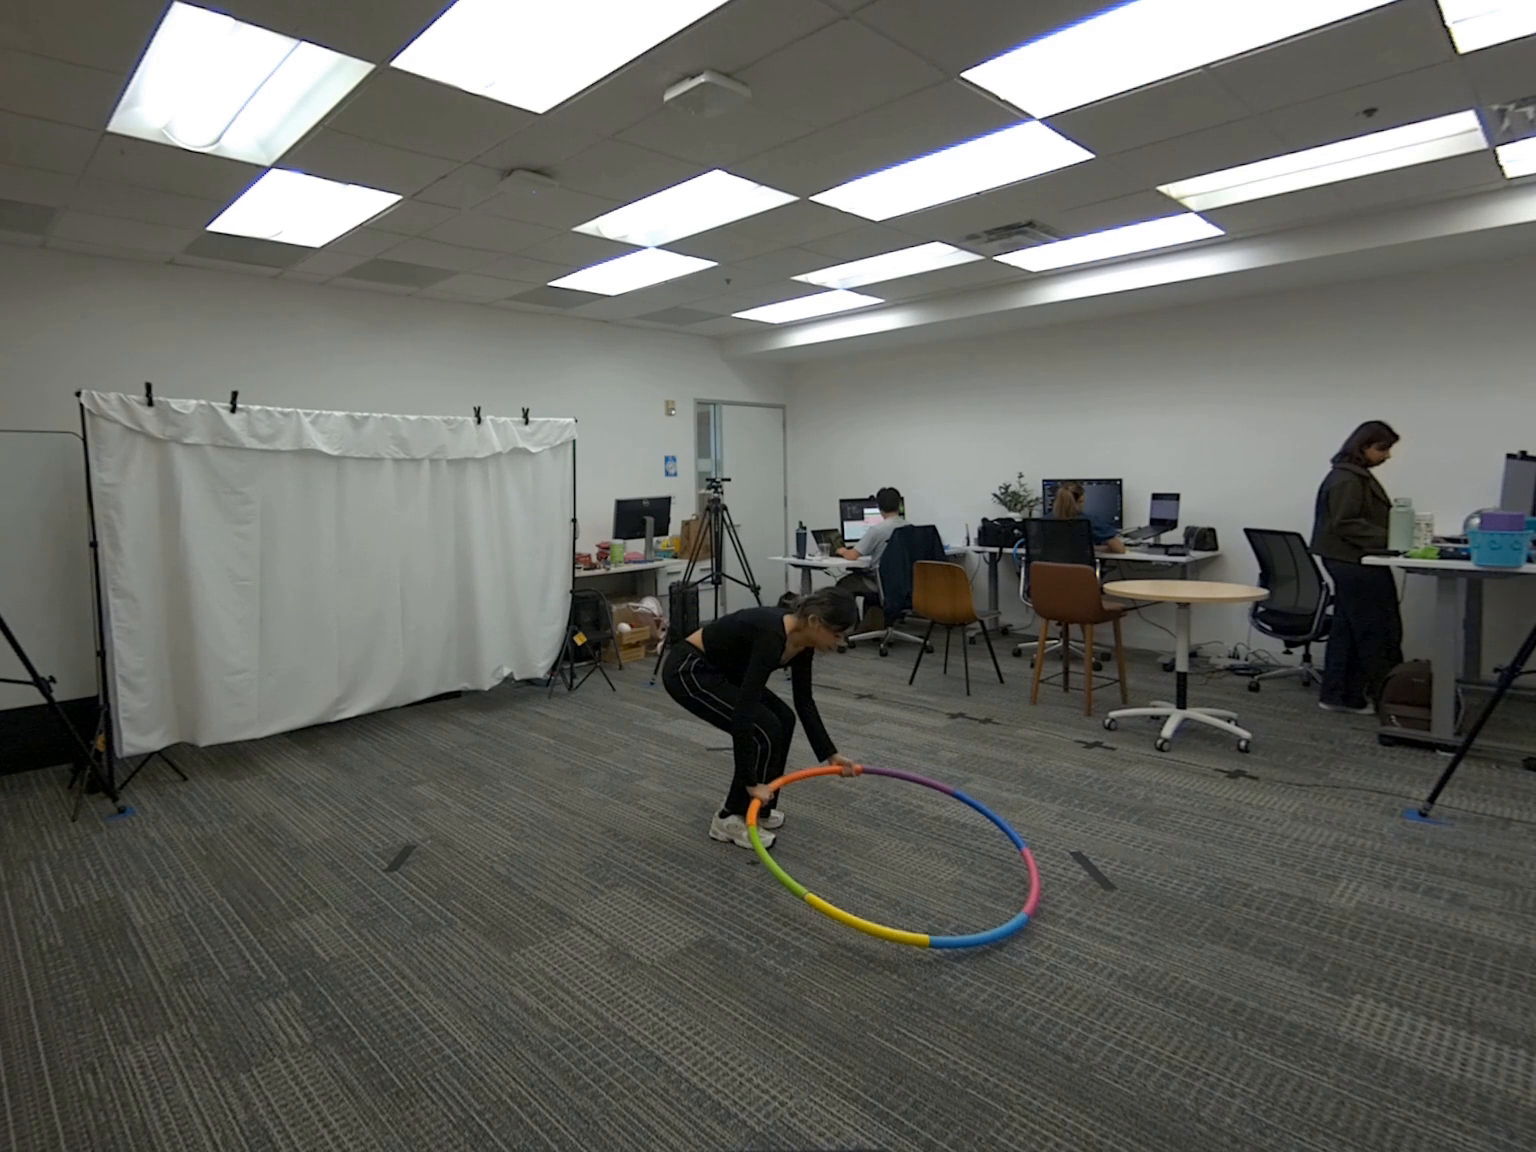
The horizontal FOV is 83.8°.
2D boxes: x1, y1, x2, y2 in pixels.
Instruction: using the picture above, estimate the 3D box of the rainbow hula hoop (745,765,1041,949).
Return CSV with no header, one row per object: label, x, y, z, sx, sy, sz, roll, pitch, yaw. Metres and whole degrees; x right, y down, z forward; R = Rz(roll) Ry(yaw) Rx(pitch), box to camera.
rainbow hula hoop,0.425,0.904,2.915,0.976,0.035,0.993,5,16,-3
